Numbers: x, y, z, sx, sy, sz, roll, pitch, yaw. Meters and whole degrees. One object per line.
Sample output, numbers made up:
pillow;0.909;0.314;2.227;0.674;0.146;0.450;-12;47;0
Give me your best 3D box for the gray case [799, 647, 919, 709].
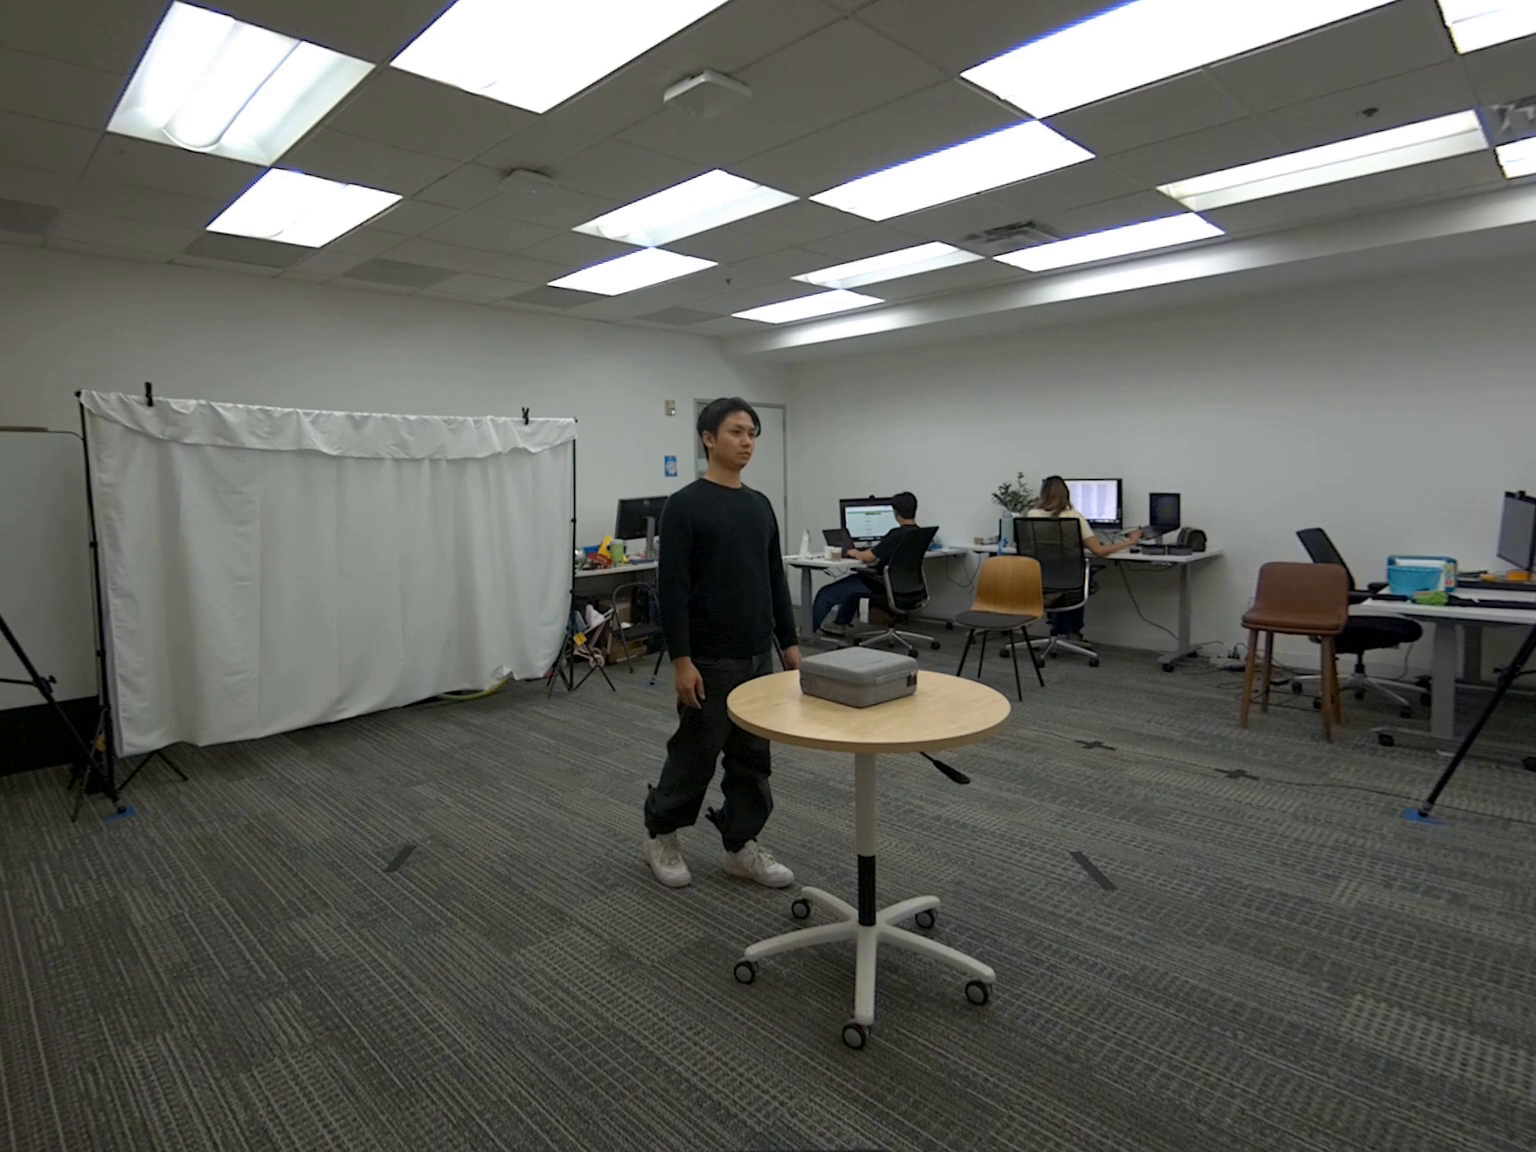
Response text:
gray case;0.258;0.280;2.417;0.250;0.104;0.269;-8;9;-39
